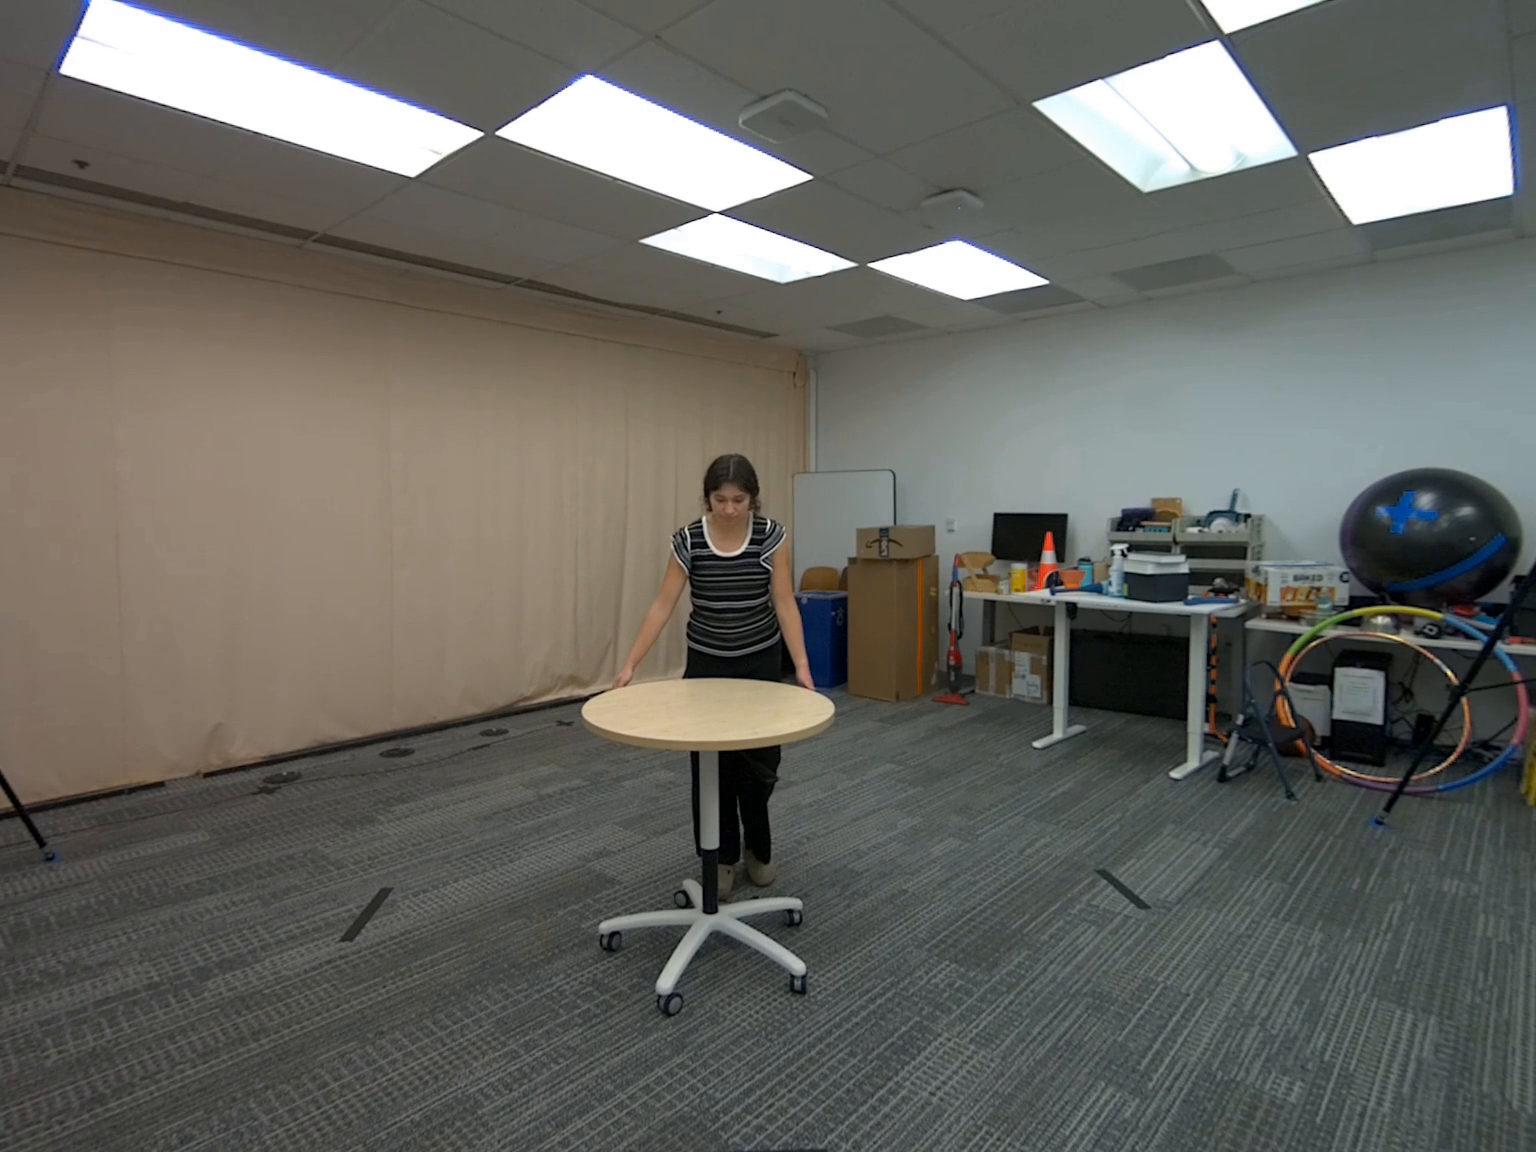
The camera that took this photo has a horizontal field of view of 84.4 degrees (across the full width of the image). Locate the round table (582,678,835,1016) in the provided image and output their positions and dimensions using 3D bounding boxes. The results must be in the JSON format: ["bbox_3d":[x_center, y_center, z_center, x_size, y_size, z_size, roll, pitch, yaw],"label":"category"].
[{"bbox_3d":[-0.180,0.786,2.596,0.763,0.792,0.767,0,4,-2],"label":"round table"}]
